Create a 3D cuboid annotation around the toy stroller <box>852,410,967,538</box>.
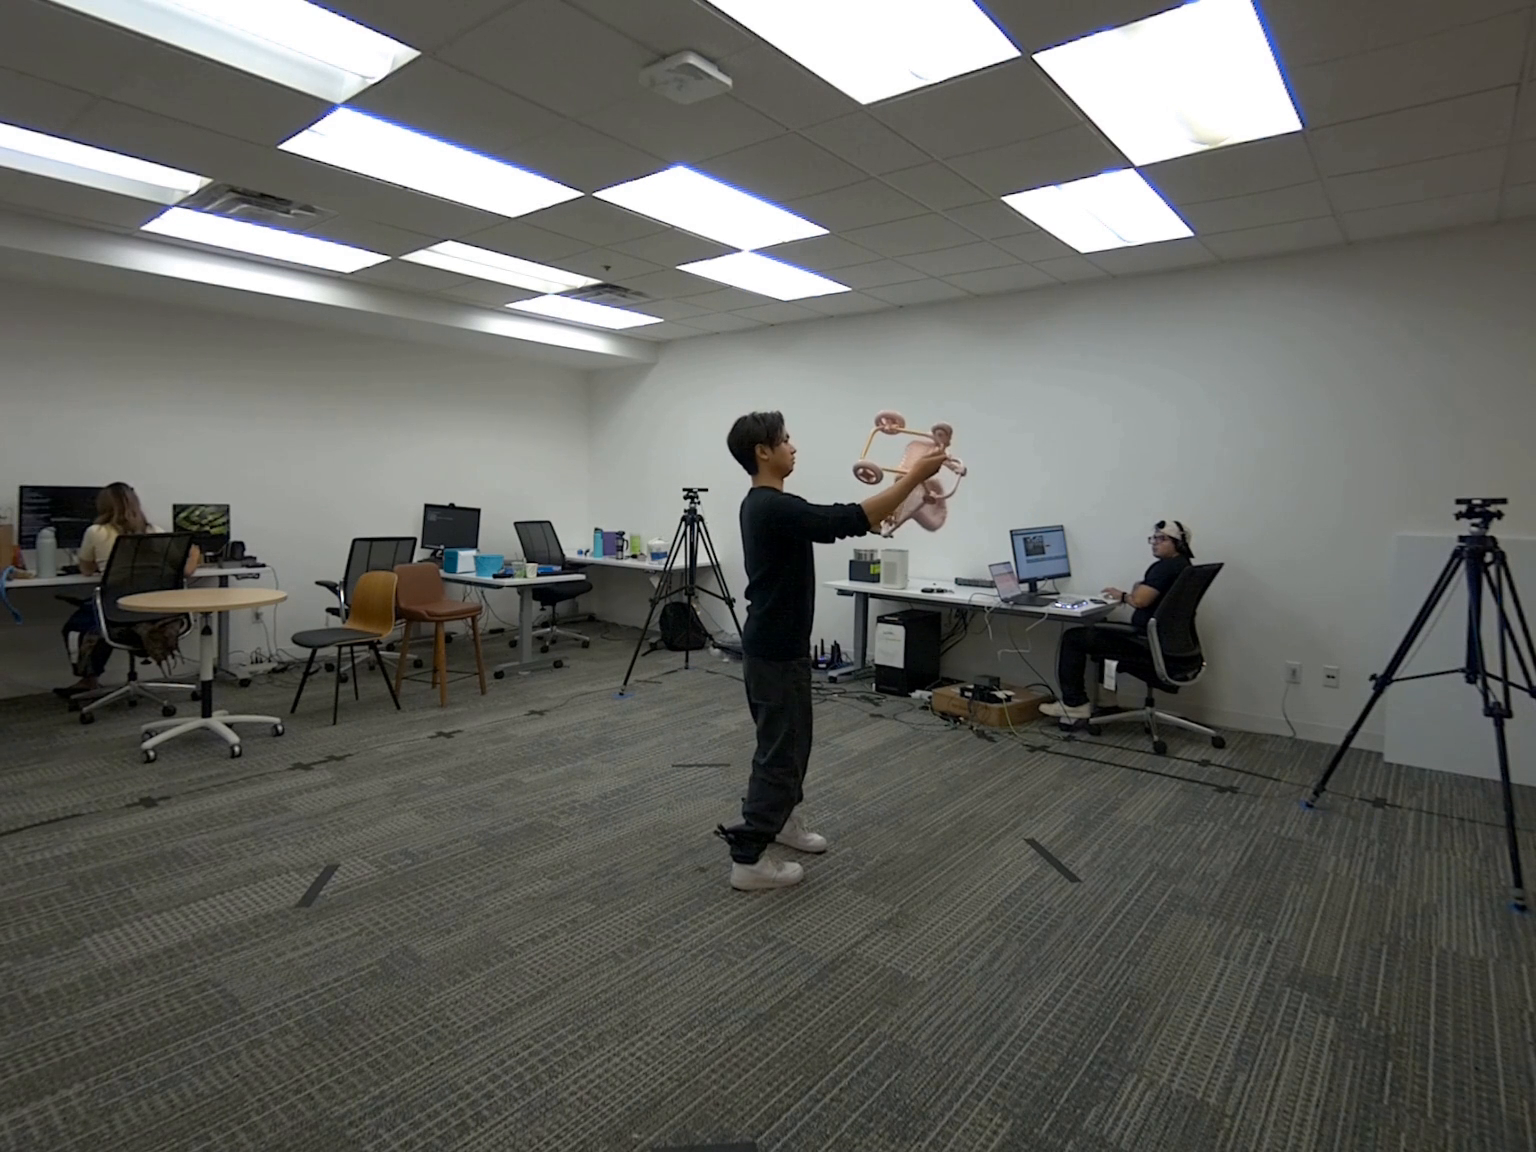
[{"bbox_3d":[0.522,-0.357,3.037,0.351,0.285,0.514,3,-38,27],"label":"toy stroller"}]
